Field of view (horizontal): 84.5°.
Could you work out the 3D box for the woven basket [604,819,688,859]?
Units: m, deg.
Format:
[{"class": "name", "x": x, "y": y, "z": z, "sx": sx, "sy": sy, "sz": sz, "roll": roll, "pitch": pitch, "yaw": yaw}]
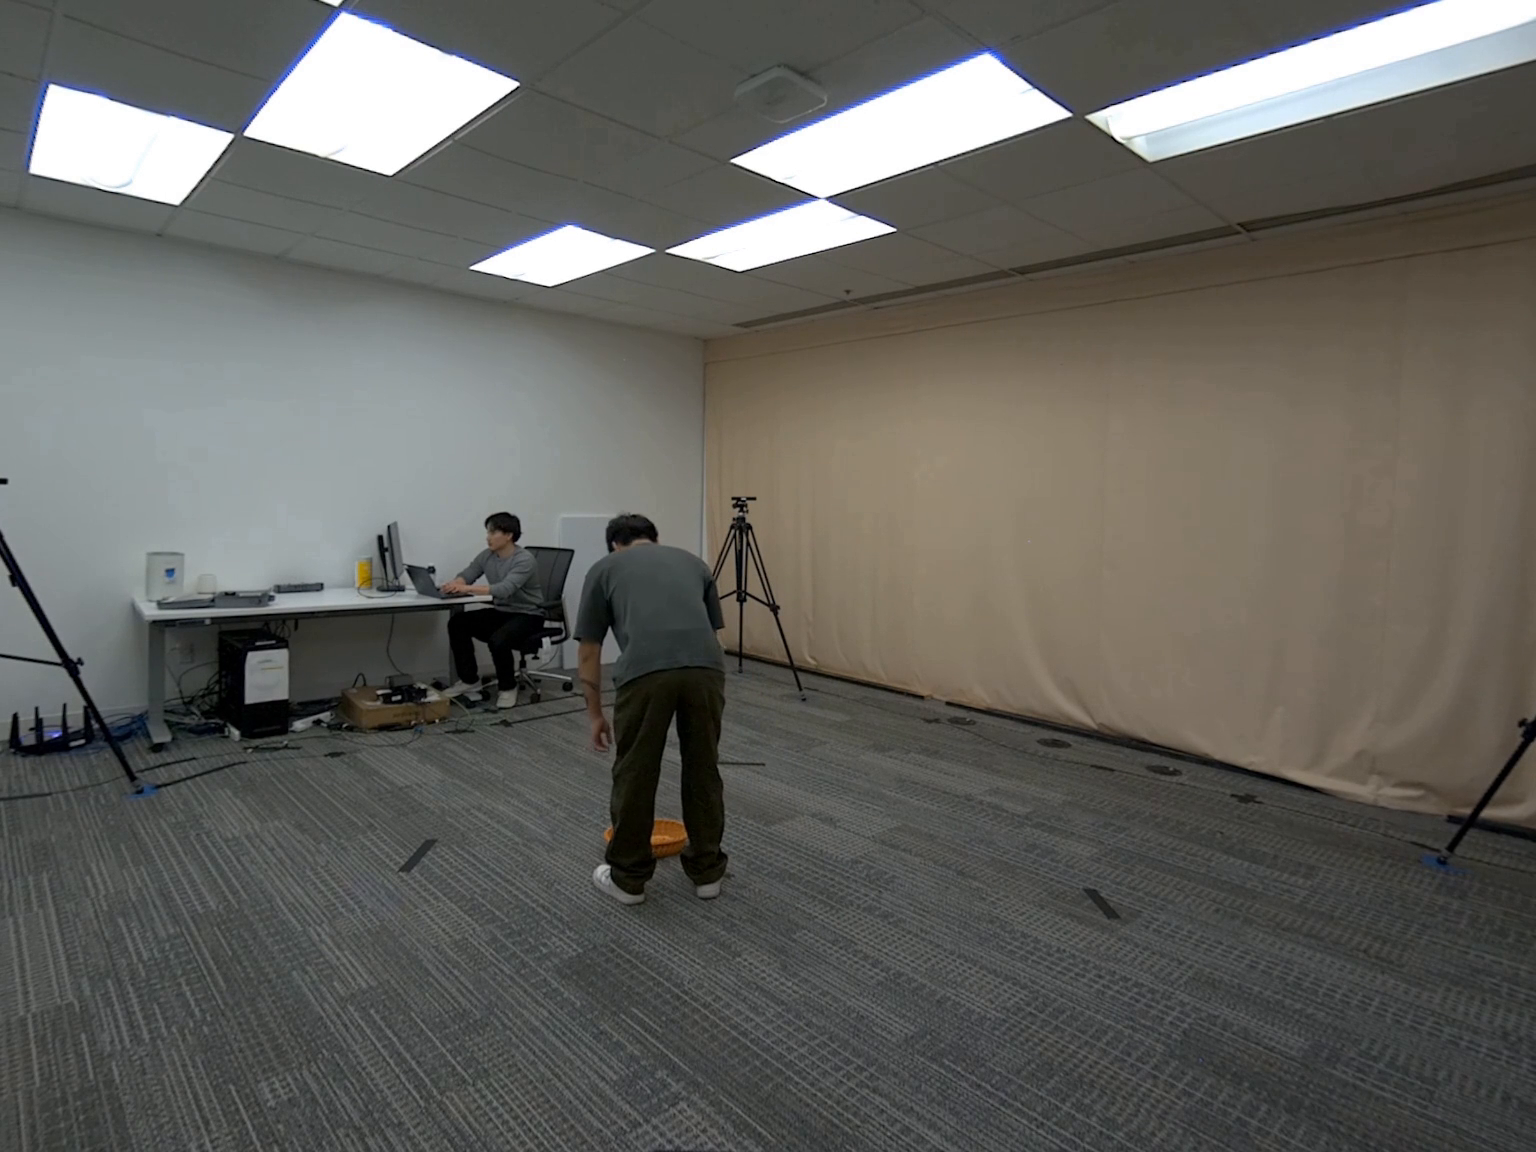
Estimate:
[{"class": "woven basket", "x": -0.481, "y": 1.046, "z": 3.334, "sx": 0.345, "sy": 0.073, "sz": 0.257, "roll": 0, "pitch": 5, "yaw": -21}]
